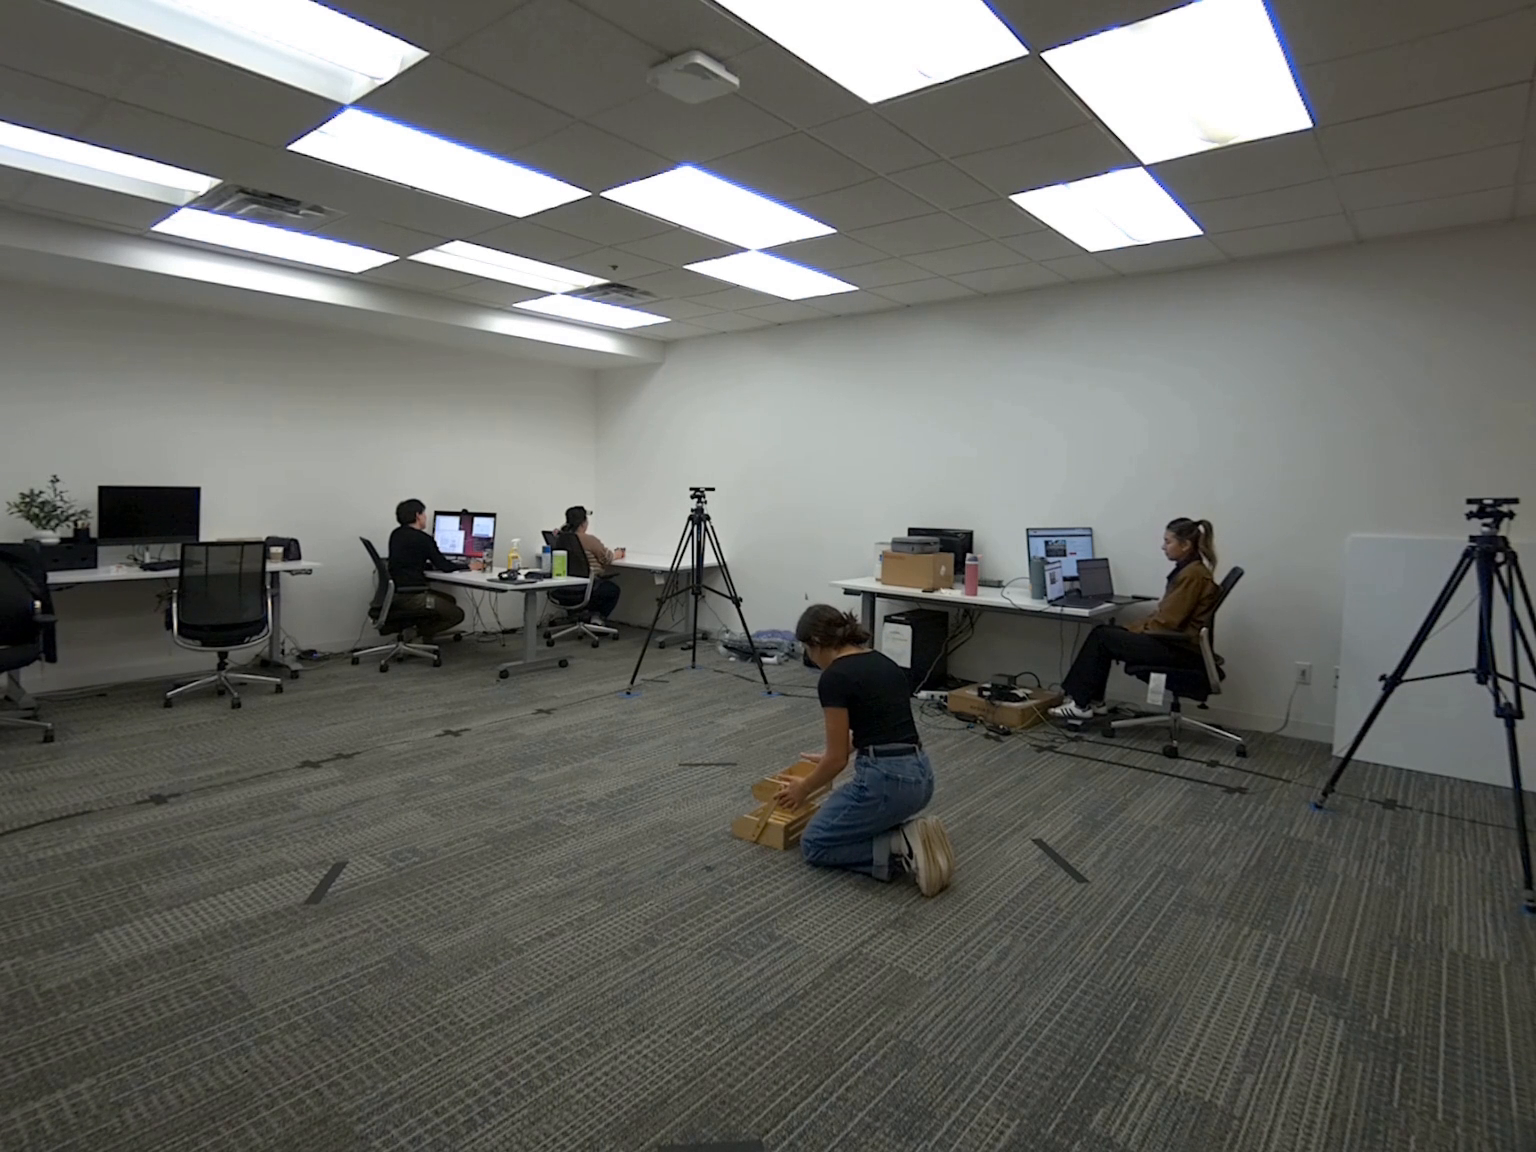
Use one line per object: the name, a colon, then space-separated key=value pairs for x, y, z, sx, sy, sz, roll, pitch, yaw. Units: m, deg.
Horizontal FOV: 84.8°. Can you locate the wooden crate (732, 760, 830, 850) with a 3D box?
wooden crate: x=0.045 y=0.905 z=3.455 sx=0.312 sy=0.272 sz=0.316 roll=5 pitch=6 yaw=33
